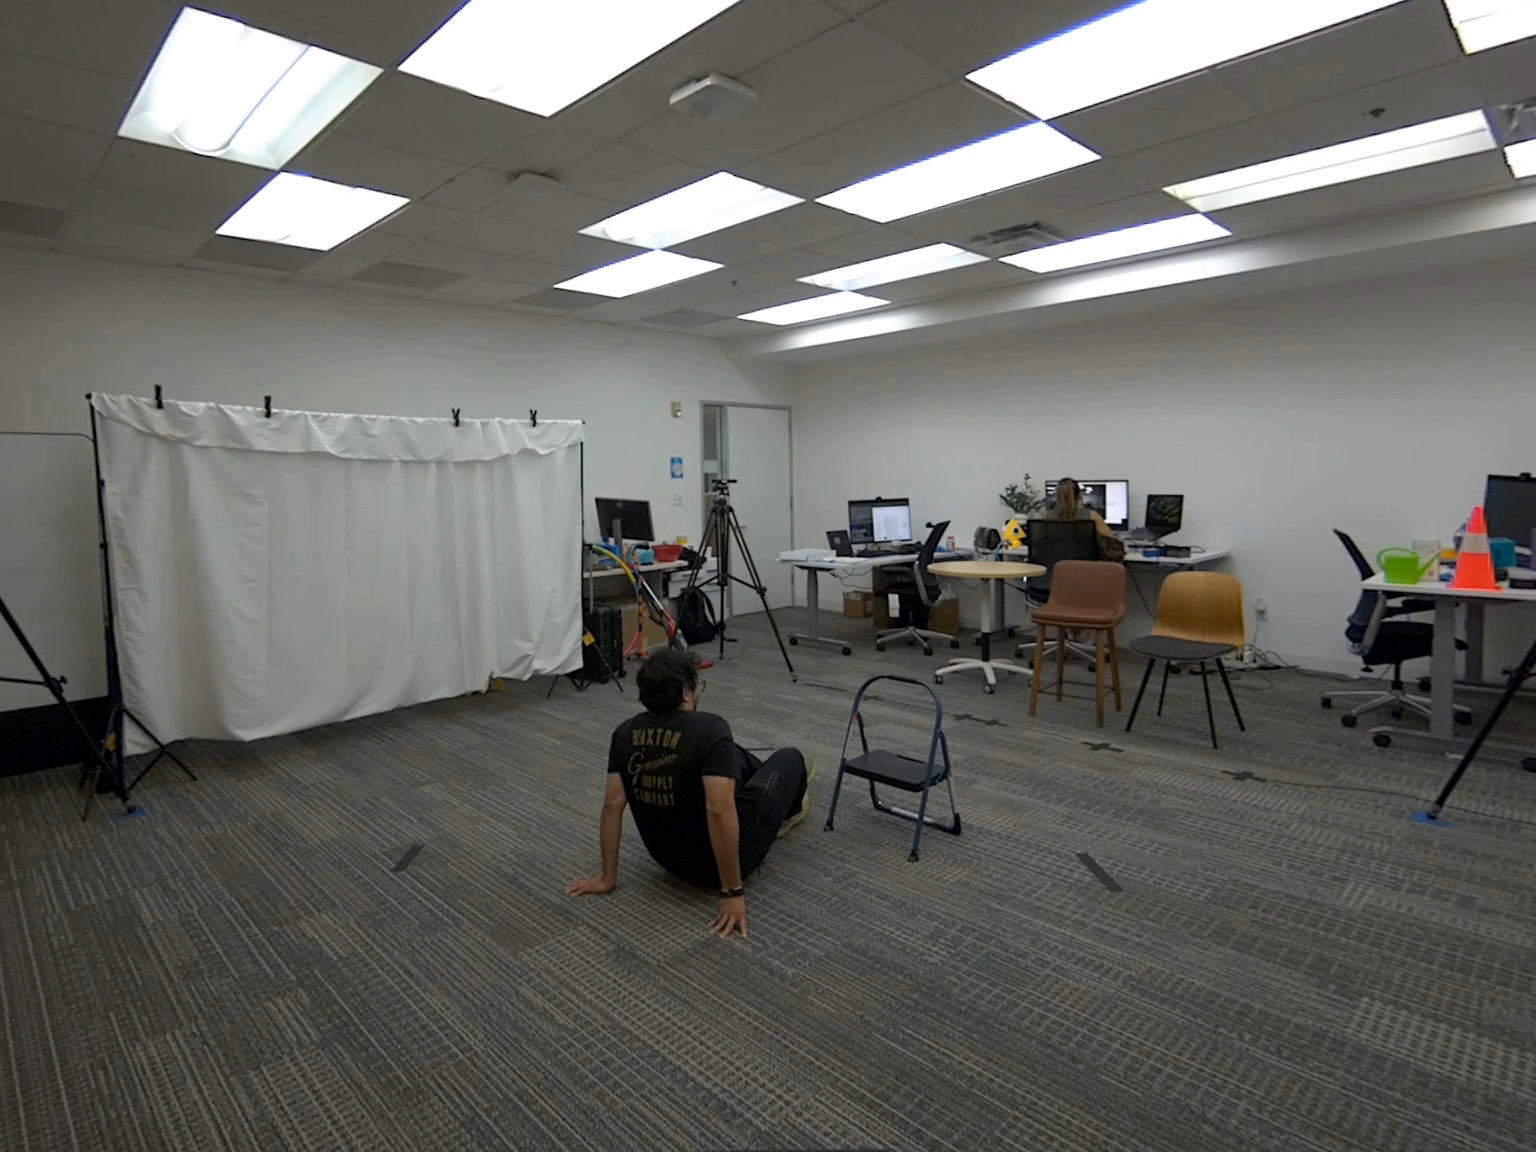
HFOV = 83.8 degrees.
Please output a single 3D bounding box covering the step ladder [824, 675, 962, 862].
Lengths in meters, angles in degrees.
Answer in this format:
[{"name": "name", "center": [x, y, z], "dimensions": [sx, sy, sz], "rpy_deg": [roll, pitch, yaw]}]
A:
[{"name": "step ladder", "center": [0.490, 0.707, 3.351], "dimensions": [0.444, 0.604, 0.340], "rpy_deg": [4, 6, 44]}]
